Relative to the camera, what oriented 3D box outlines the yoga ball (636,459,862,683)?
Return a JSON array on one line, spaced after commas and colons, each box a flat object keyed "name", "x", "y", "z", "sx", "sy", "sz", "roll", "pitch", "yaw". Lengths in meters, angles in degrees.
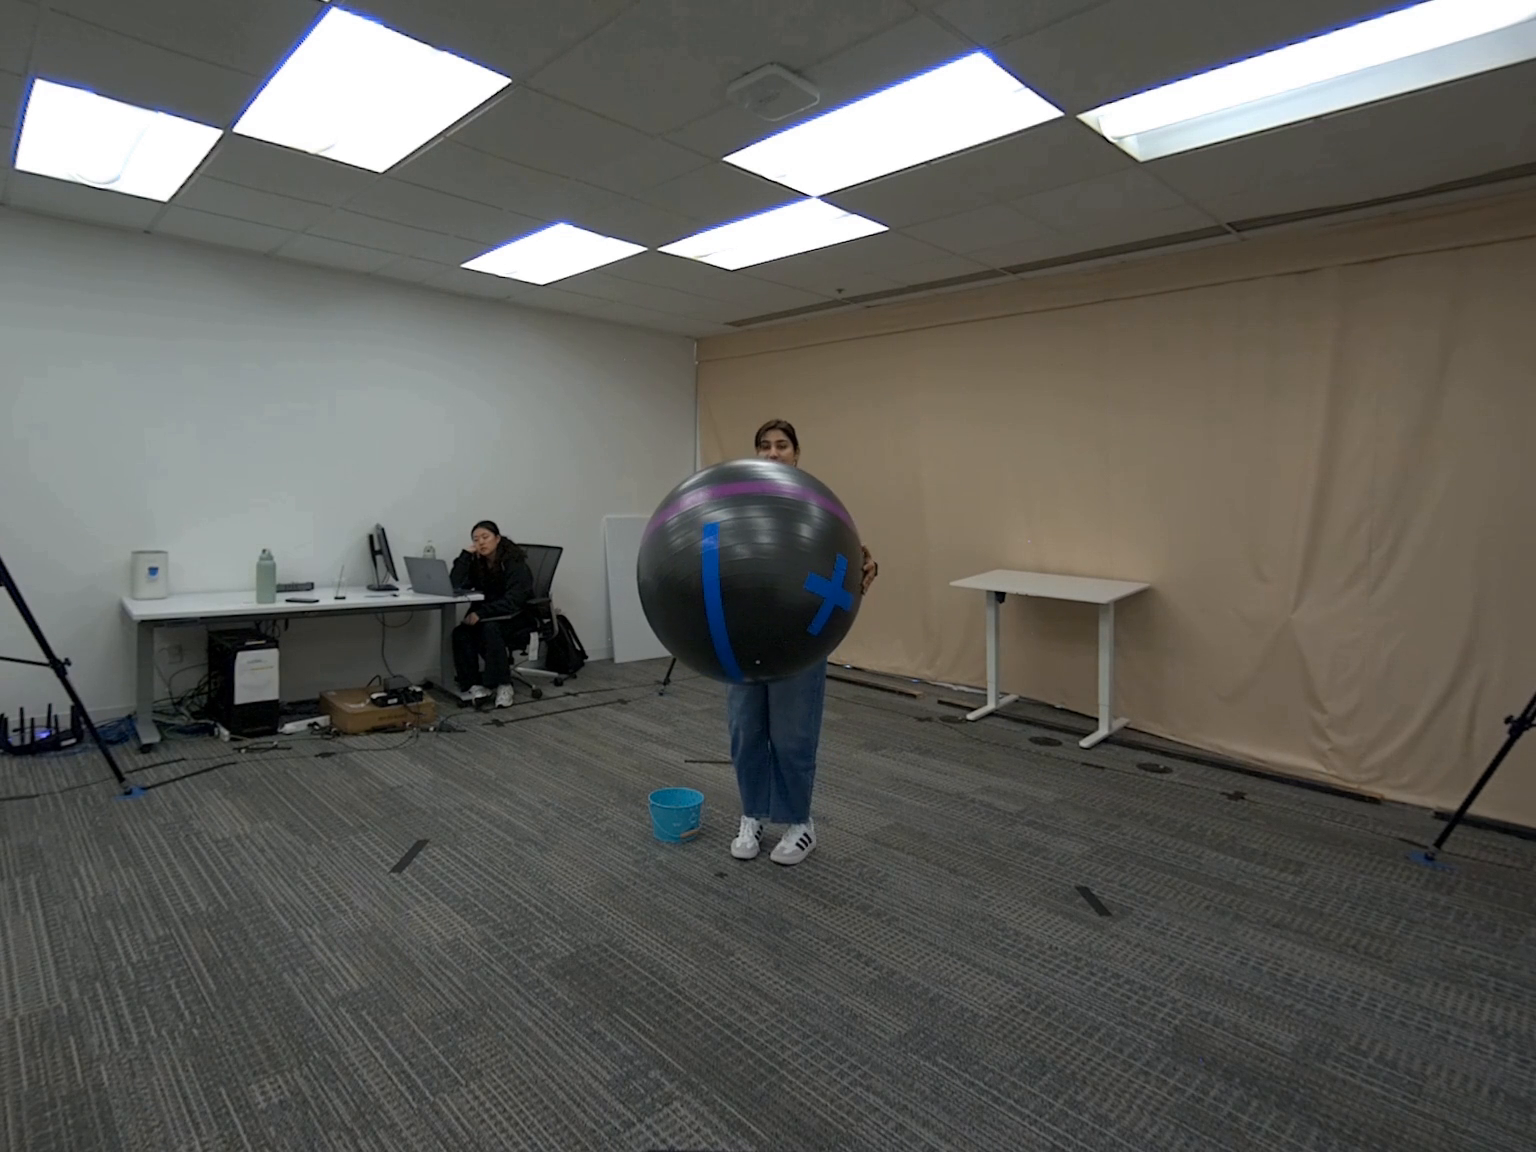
[{"name": "yoga ball", "x": -0.061, "y": -0.006, "z": 2.808, "sx": 0.757, "sy": 0.756, "sz": 0.761, "roll": 1, "pitch": 4, "yaw": -1}]
